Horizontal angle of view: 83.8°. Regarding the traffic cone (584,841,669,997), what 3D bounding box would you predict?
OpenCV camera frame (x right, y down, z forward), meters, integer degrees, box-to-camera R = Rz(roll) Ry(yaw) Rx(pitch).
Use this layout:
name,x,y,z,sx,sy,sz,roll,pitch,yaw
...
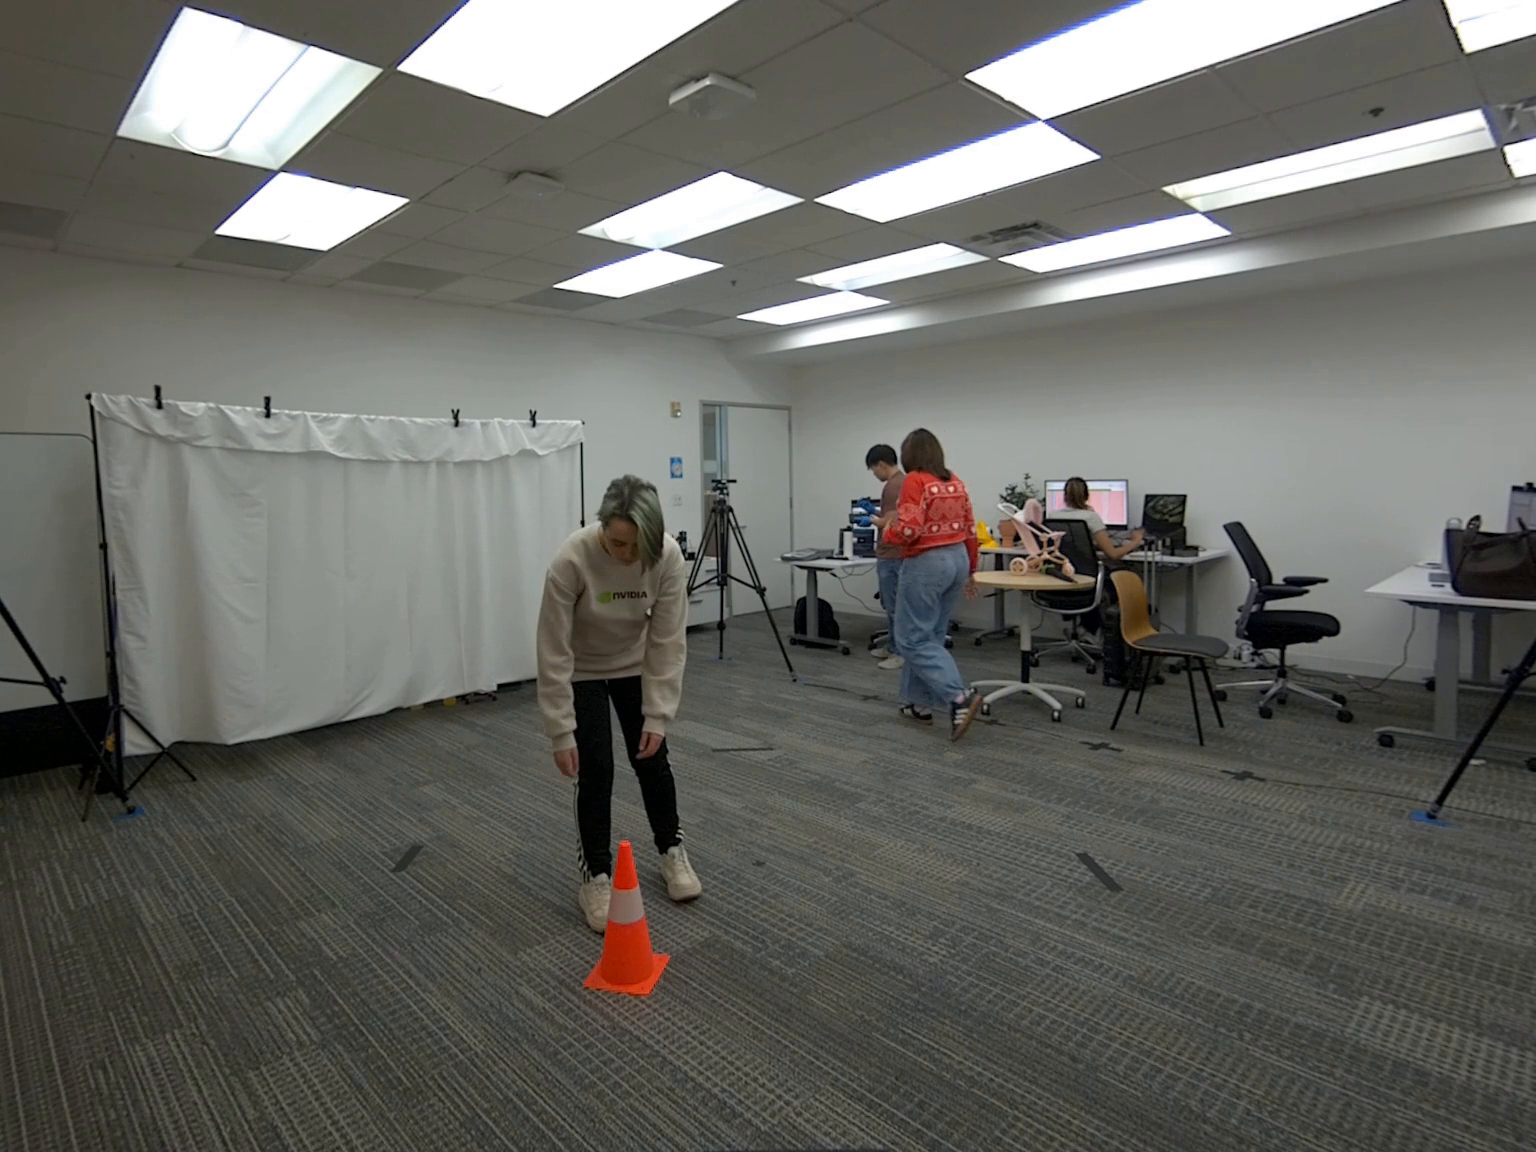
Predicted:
name,x,y,z,sx,sy,sz,roll,pitch,yaw
traffic cone,-0.400,0.951,2.429,0.206,0.382,0.203,0,5,12
